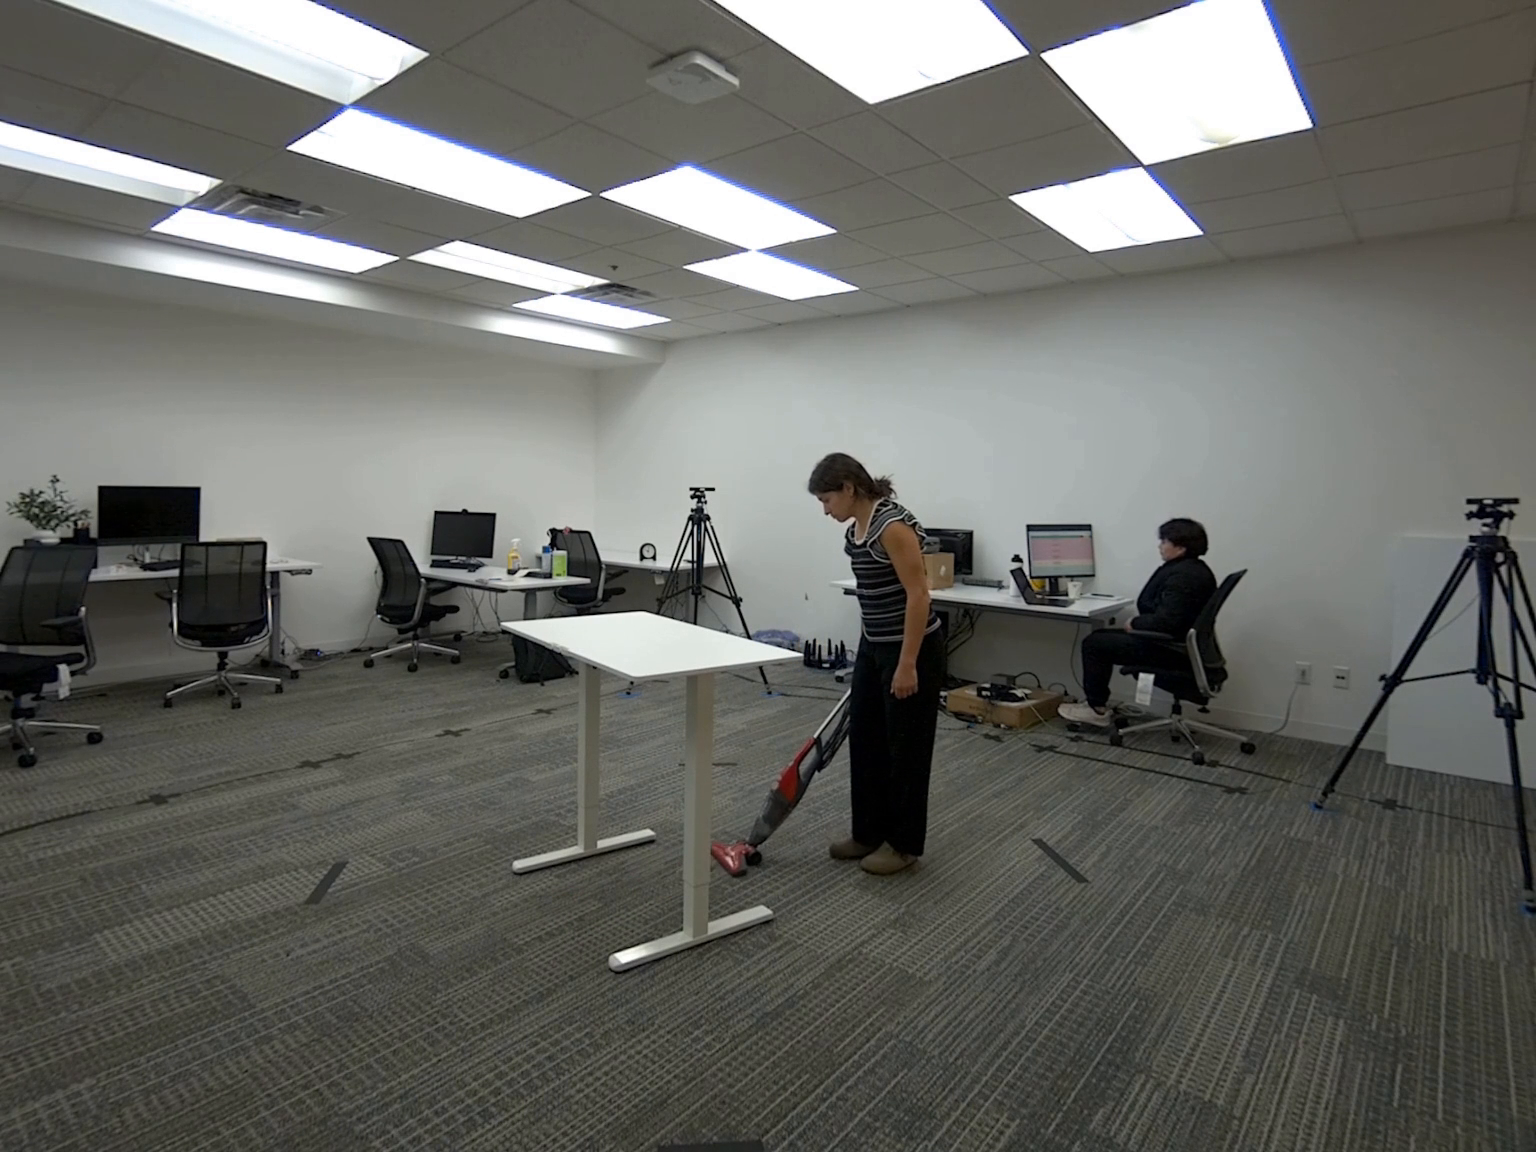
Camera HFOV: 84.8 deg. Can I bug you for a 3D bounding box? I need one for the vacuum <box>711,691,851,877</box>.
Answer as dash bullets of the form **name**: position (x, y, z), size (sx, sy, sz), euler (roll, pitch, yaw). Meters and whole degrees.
- **vacuum**: position (0.192, 0.673, 3.297), size (0.140, 1.049, 0.259), euler (47, -15, -21)
